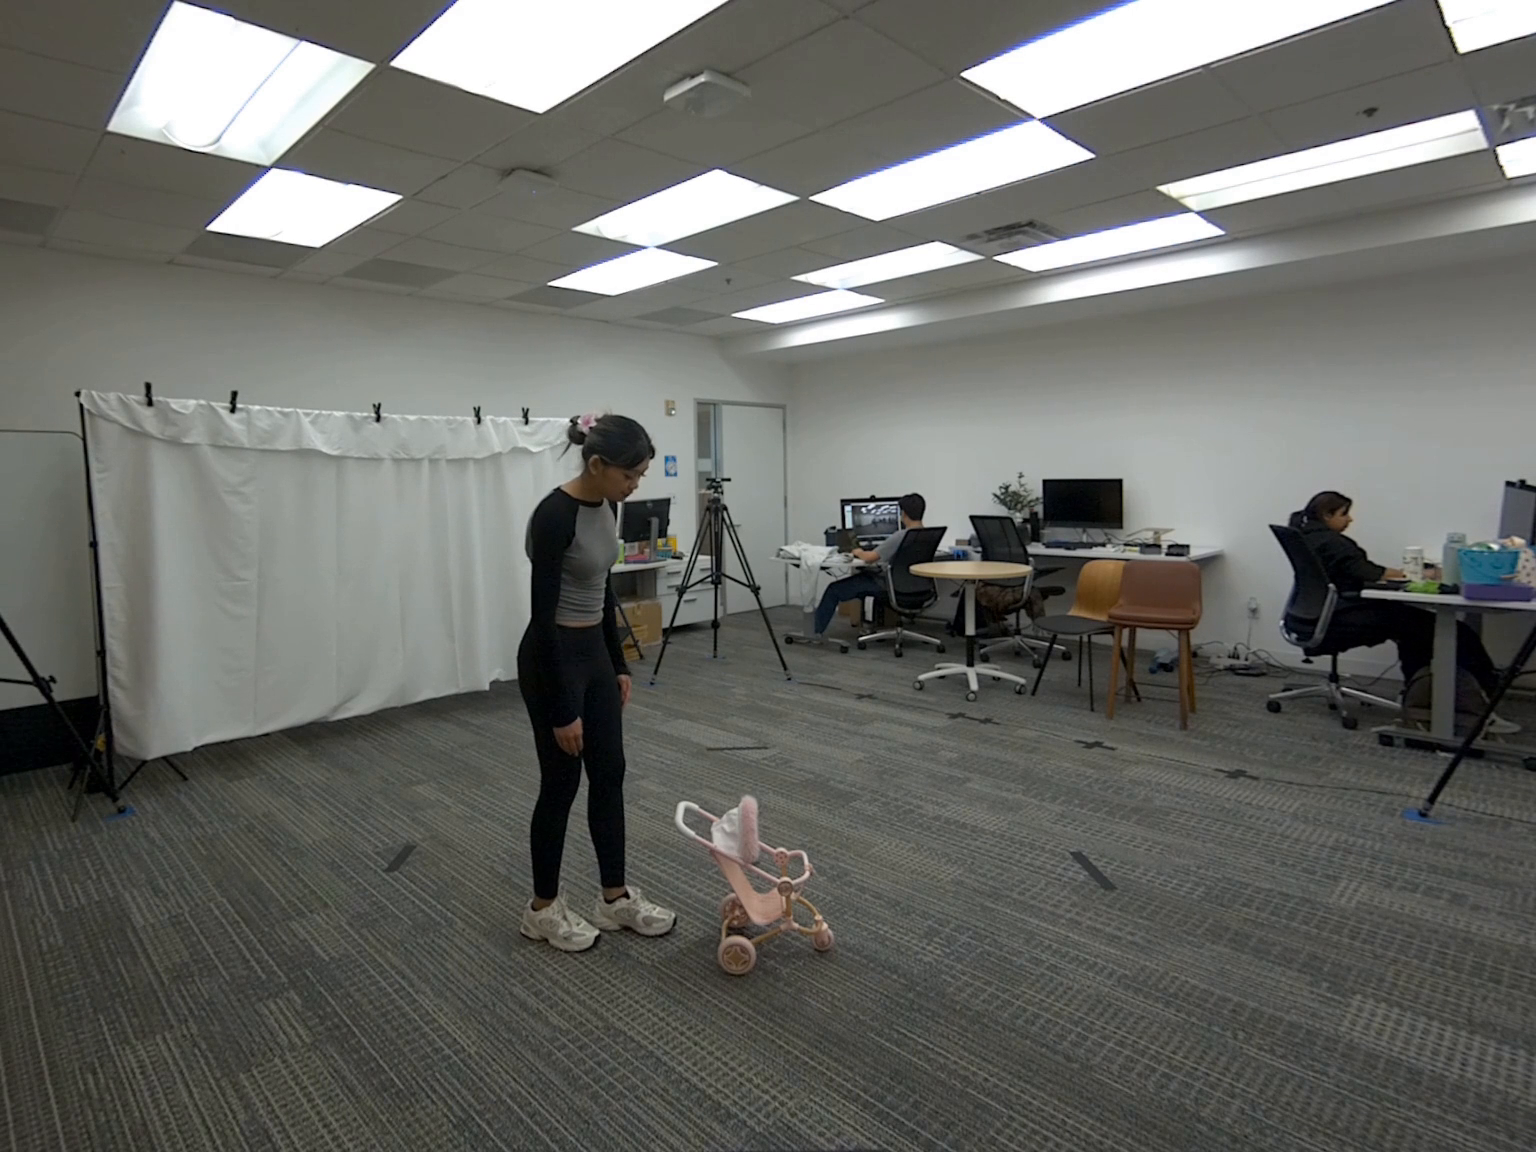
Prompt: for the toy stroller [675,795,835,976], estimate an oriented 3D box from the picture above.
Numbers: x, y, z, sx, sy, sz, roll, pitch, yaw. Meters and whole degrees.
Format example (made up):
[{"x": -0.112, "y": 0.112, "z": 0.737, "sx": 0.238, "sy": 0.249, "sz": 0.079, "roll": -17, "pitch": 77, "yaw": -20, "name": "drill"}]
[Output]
[{"x": -0.030, "y": 0.887, "z": 2.515, "sx": 0.343, "sy": 0.533, "sz": 0.281, "roll": -17, "pitch": 4, "yaw": 6, "name": "toy stroller"}]
